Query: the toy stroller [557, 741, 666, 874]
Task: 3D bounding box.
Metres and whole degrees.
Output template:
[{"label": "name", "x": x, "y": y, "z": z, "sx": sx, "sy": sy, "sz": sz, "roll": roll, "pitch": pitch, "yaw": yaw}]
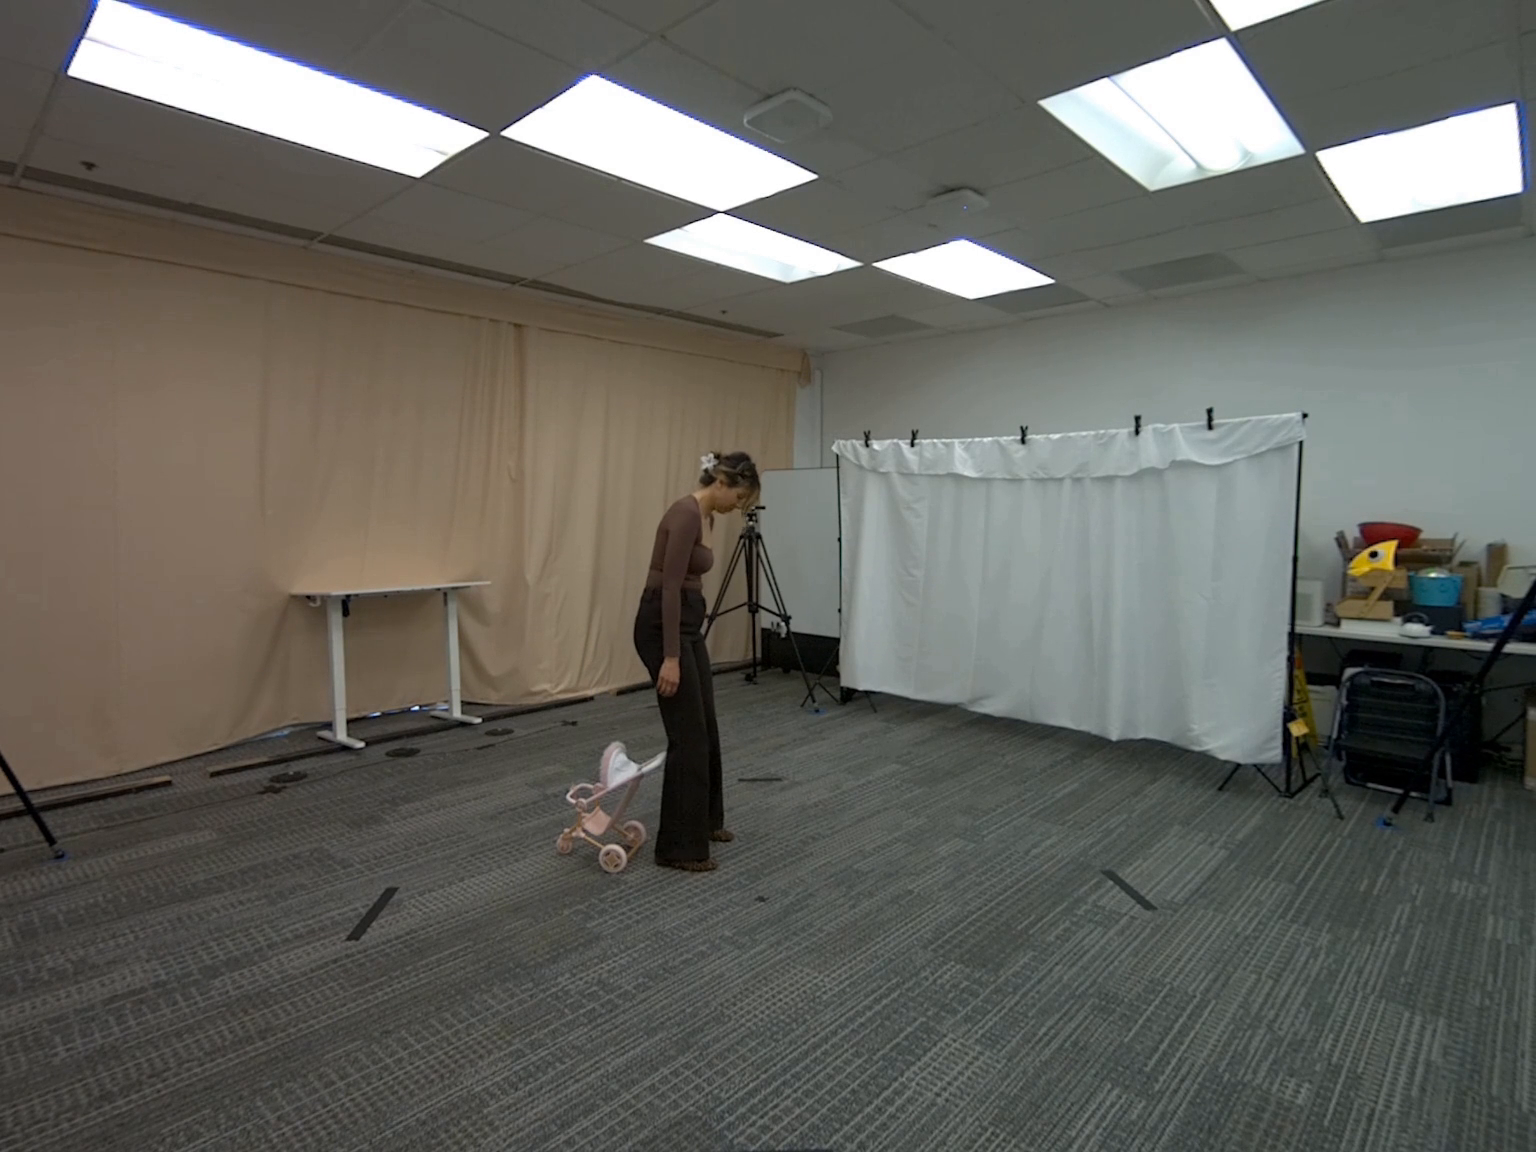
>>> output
[{"label": "toy stroller", "x": -0.633, "y": 0.902, "z": 3.342, "sx": 0.348, "sy": 0.534, "sz": 0.277, "roll": 18, "pitch": 7, "yaw": 15}]
